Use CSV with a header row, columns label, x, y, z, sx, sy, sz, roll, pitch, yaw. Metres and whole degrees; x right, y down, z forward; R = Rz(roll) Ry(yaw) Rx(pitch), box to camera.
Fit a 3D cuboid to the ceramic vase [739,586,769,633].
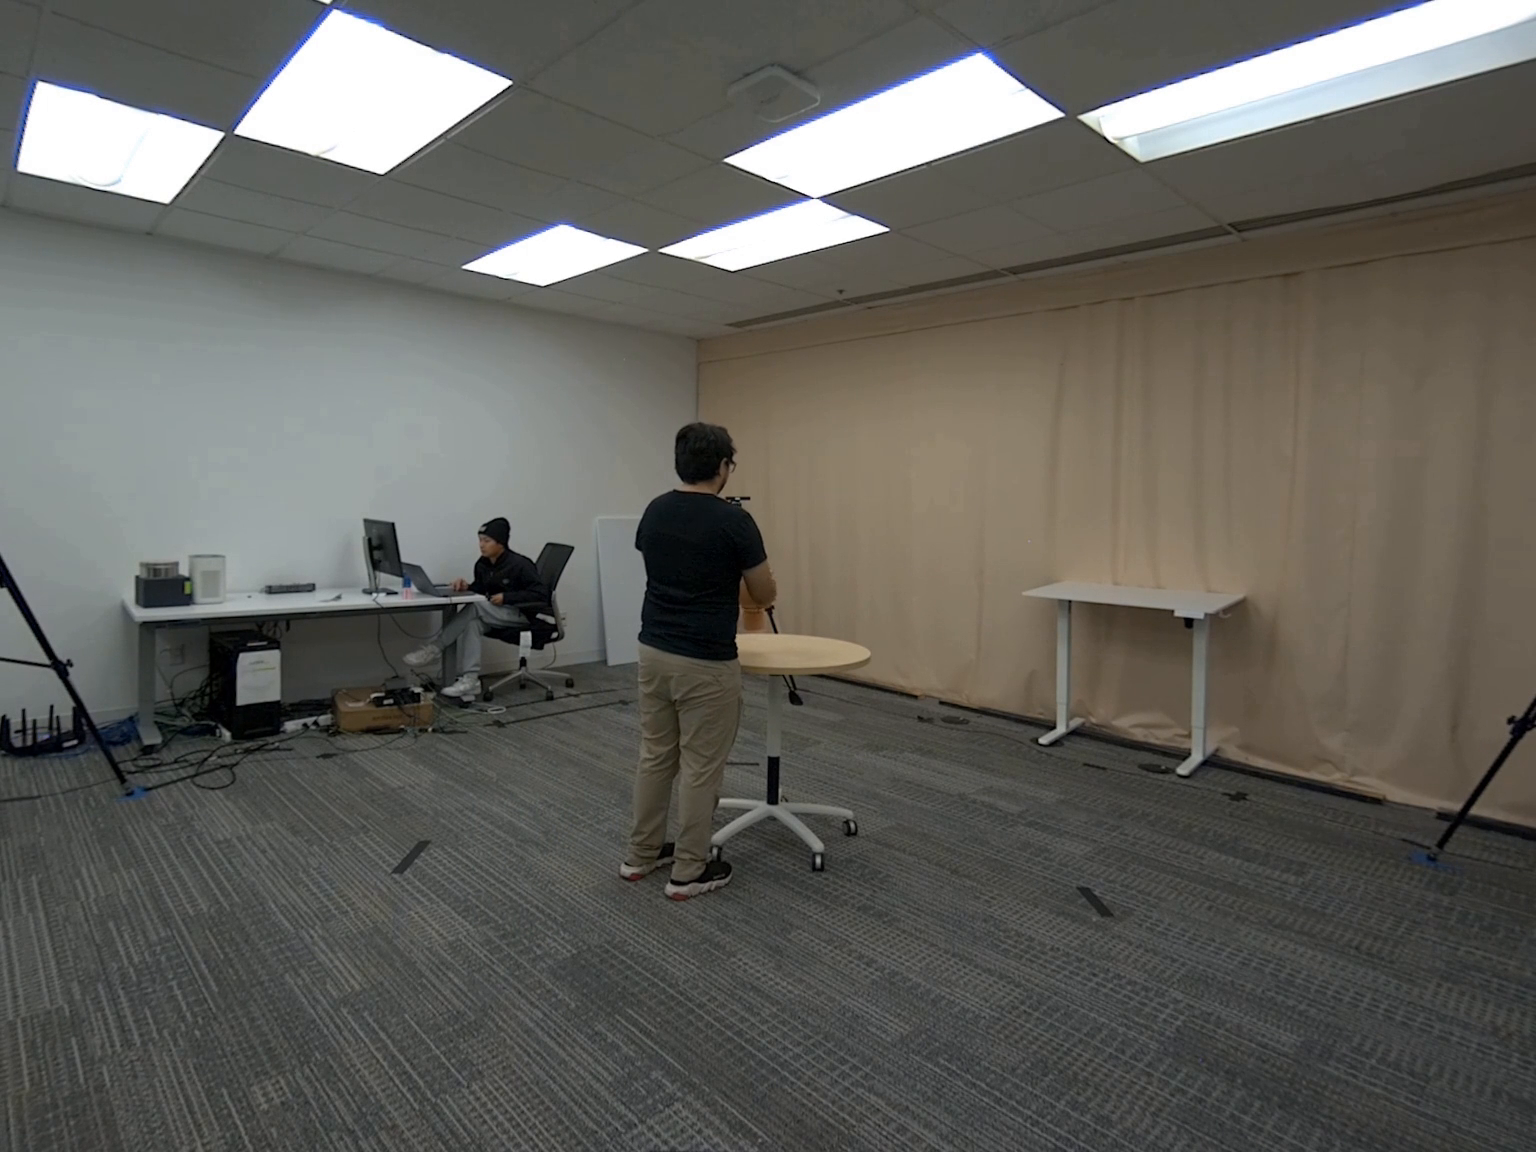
label,x,y,z,sx,sy,sz,roll,pitch,yaw
ceramic vase,-0.067,0.102,3.332,0.161,0.218,0.134,1,11,16
